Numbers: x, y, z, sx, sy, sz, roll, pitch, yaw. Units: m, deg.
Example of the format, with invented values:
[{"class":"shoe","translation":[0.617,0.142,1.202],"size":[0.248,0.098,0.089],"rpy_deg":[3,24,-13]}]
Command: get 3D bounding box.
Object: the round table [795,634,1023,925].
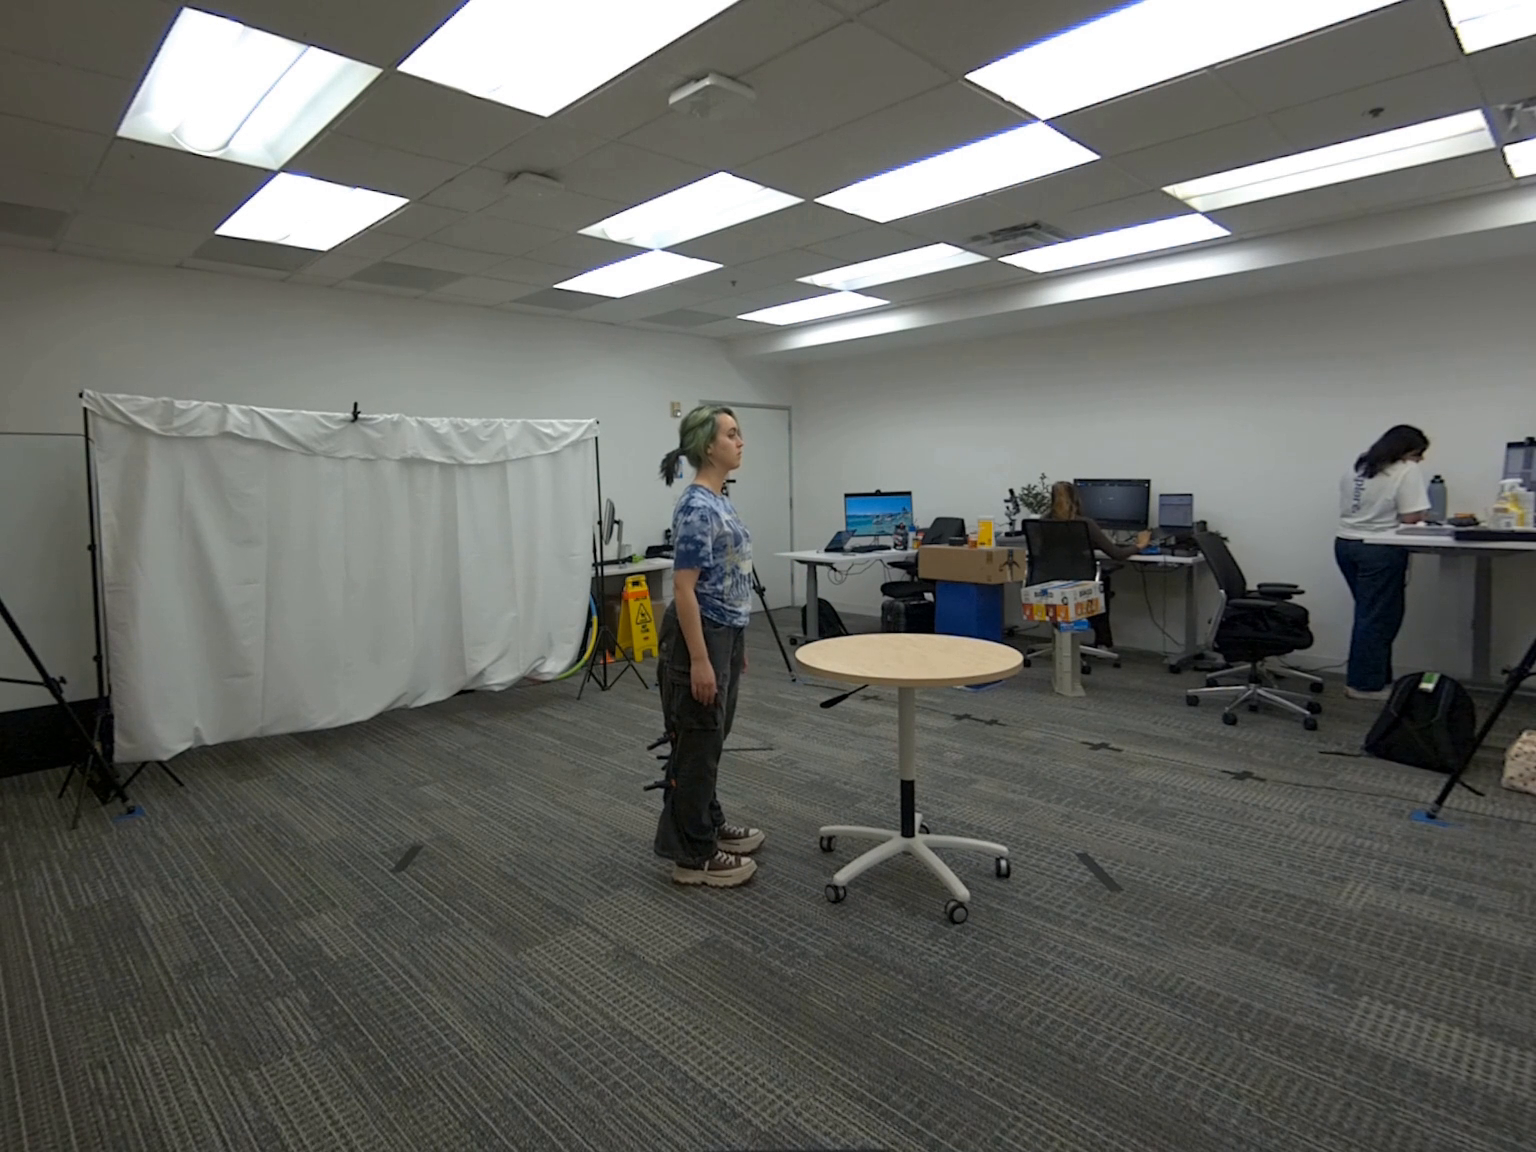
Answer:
[{"class":"round table","translation":[0.484,0.661,2.973],"size":[0.763,0.791,0.768],"rpy_deg":[-1,4,-2]}]
